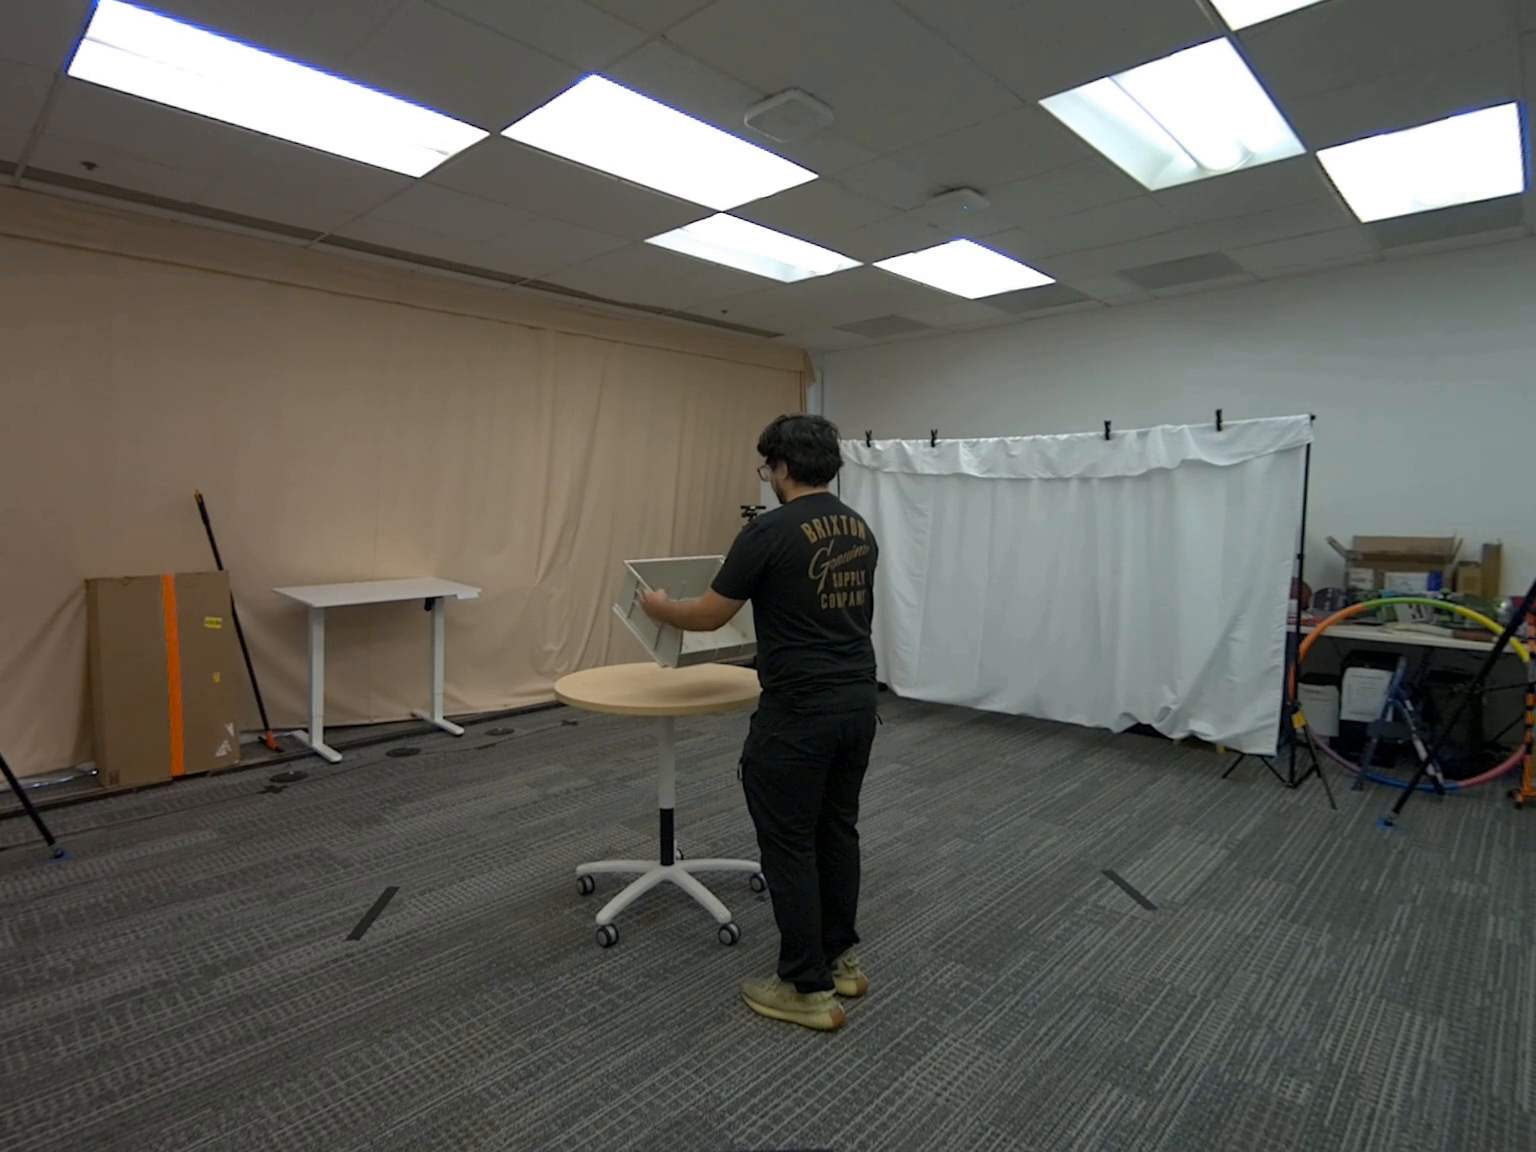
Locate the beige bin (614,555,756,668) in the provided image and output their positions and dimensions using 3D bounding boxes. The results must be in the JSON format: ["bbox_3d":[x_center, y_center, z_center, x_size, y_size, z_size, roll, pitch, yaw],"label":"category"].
[{"bbox_3d":[-0.223,0.118,2.740,0.409,0.188,0.391,-5,35,-41],"label":"beige bin"}]
